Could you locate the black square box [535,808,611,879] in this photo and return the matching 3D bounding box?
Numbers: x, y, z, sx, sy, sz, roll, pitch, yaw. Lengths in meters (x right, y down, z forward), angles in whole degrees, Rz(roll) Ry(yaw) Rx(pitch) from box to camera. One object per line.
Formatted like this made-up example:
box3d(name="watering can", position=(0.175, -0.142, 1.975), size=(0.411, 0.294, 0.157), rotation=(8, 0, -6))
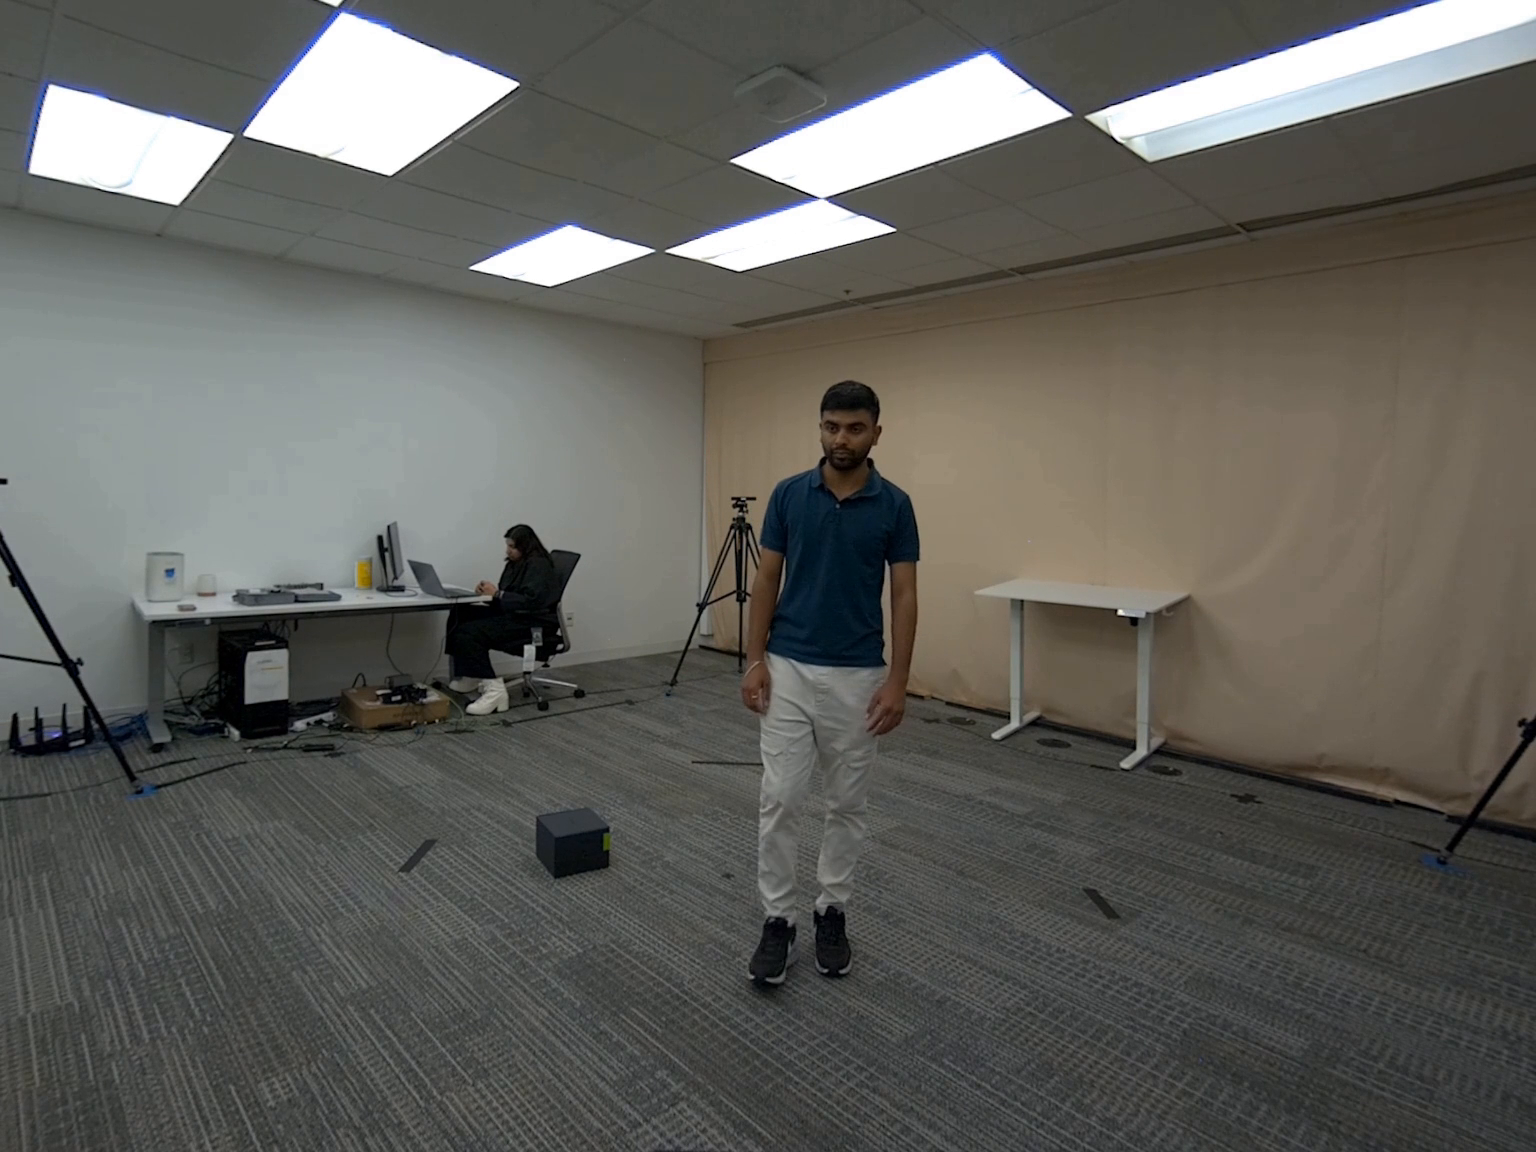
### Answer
box3d(name="black square box", position=(-0.748, 1.004, 3.185), size=(0.212, 0.155, 0.233), rotation=(-1, 5, -32))
